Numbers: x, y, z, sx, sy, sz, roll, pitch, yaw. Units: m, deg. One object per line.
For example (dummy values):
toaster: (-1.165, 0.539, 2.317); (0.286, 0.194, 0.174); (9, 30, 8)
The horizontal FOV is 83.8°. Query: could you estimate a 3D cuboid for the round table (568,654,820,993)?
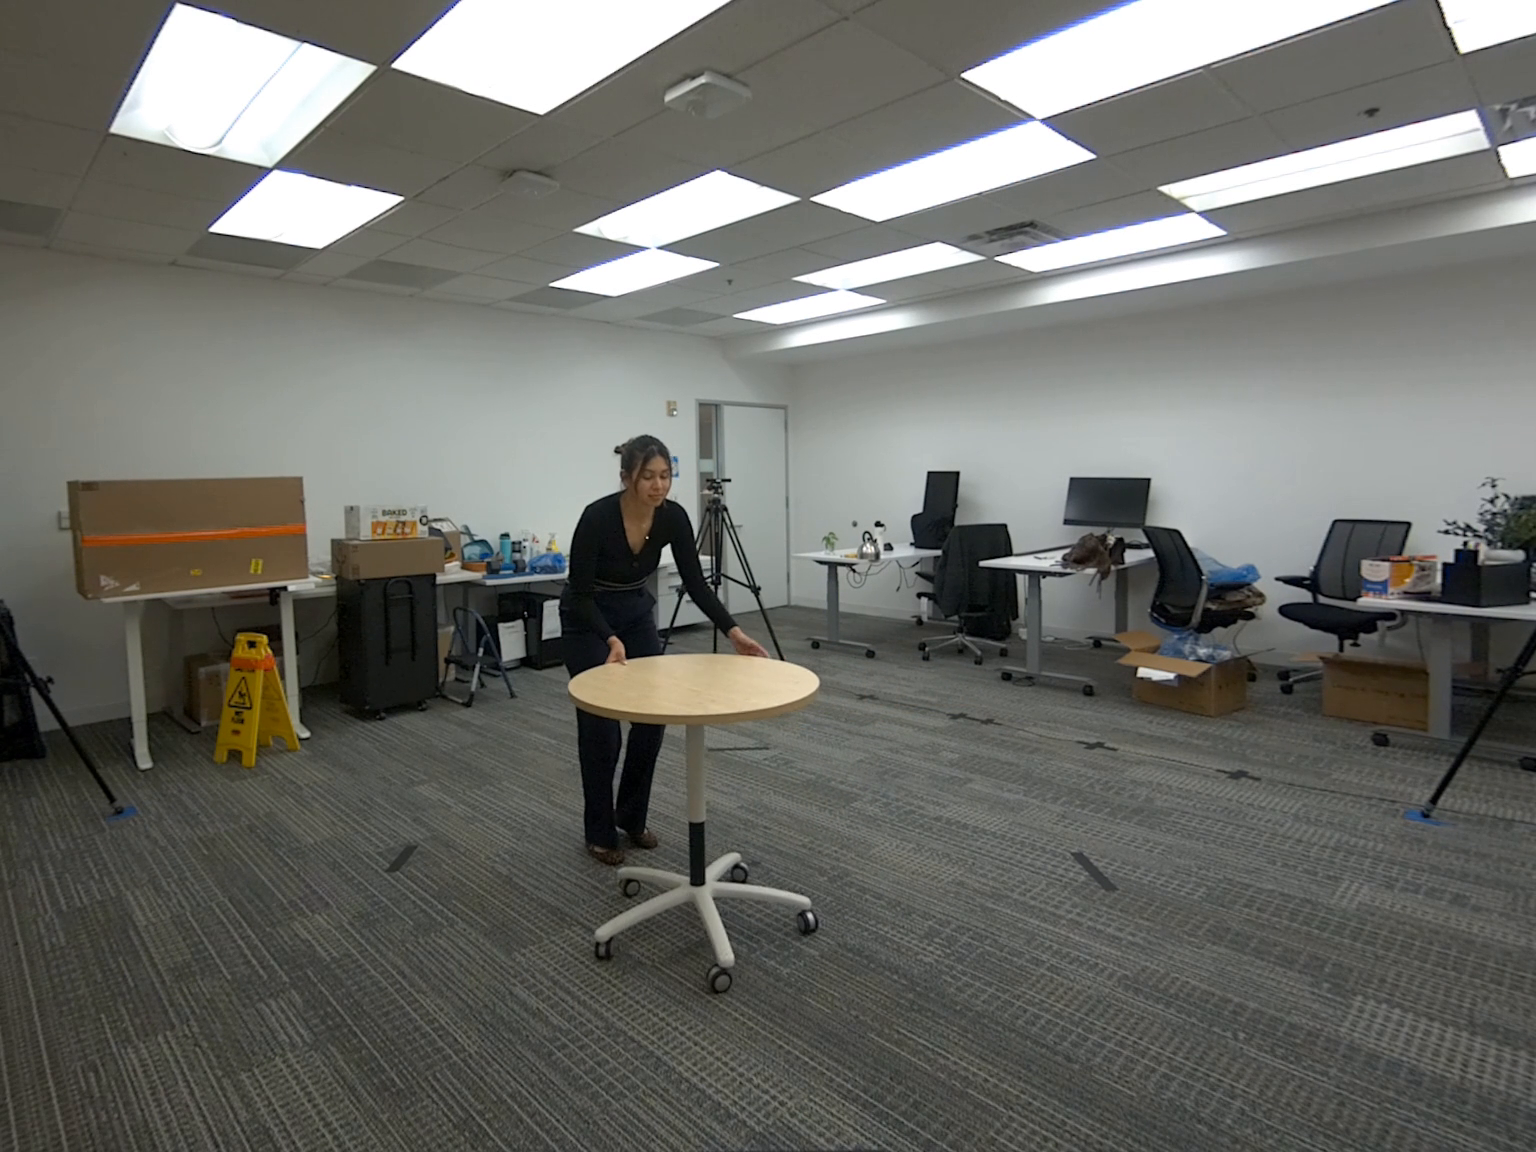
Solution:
round table: (-0.207, 0.712, 2.646); (0.763, 0.791, 0.768); (-1, 5, -2)
